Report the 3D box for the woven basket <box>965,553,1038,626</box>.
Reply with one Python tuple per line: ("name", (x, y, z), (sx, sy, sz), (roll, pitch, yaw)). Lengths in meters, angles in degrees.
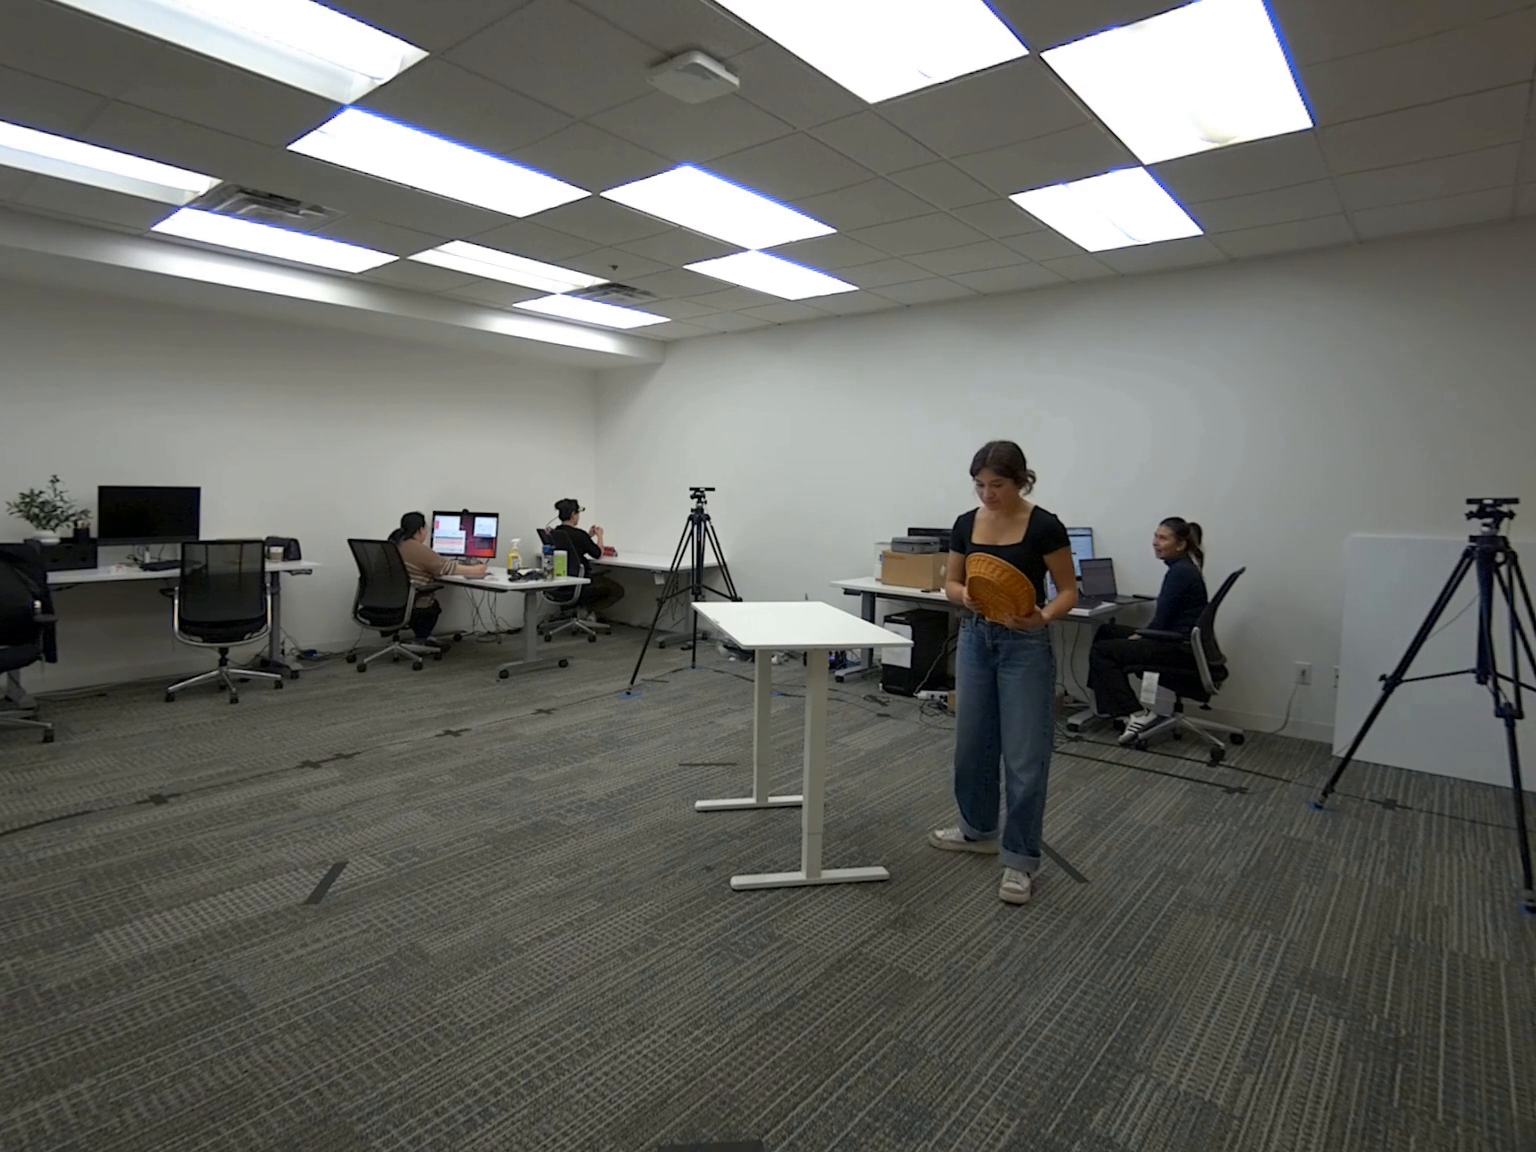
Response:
("woven basket", (0.749, 0.055, 2.832), (0.262, 0.073, 0.337), (30, -21, 30))
